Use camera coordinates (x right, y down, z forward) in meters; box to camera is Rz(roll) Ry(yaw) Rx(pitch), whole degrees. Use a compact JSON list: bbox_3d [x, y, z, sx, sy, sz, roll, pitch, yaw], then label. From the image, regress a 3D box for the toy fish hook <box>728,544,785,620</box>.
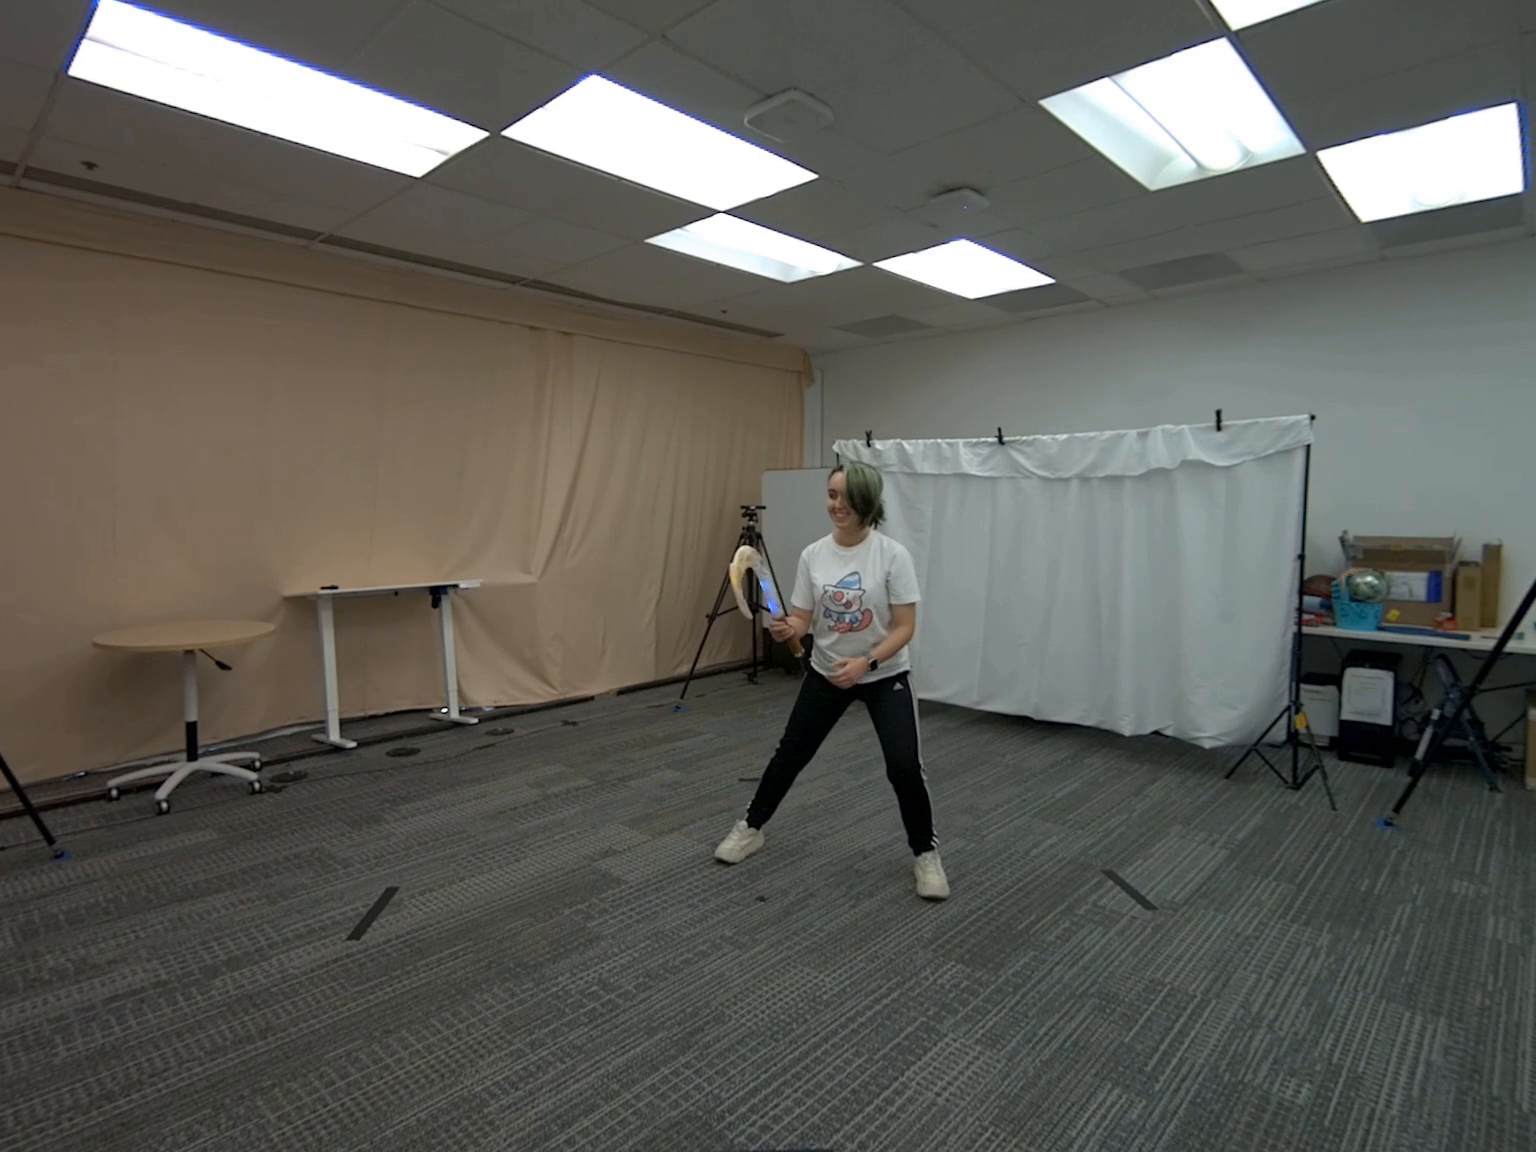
[{"bbox_3d":[-0.003,0.132,2.833,0.050,0.493,0.224,-5,37,35],"label":"toy fish hook"}]
